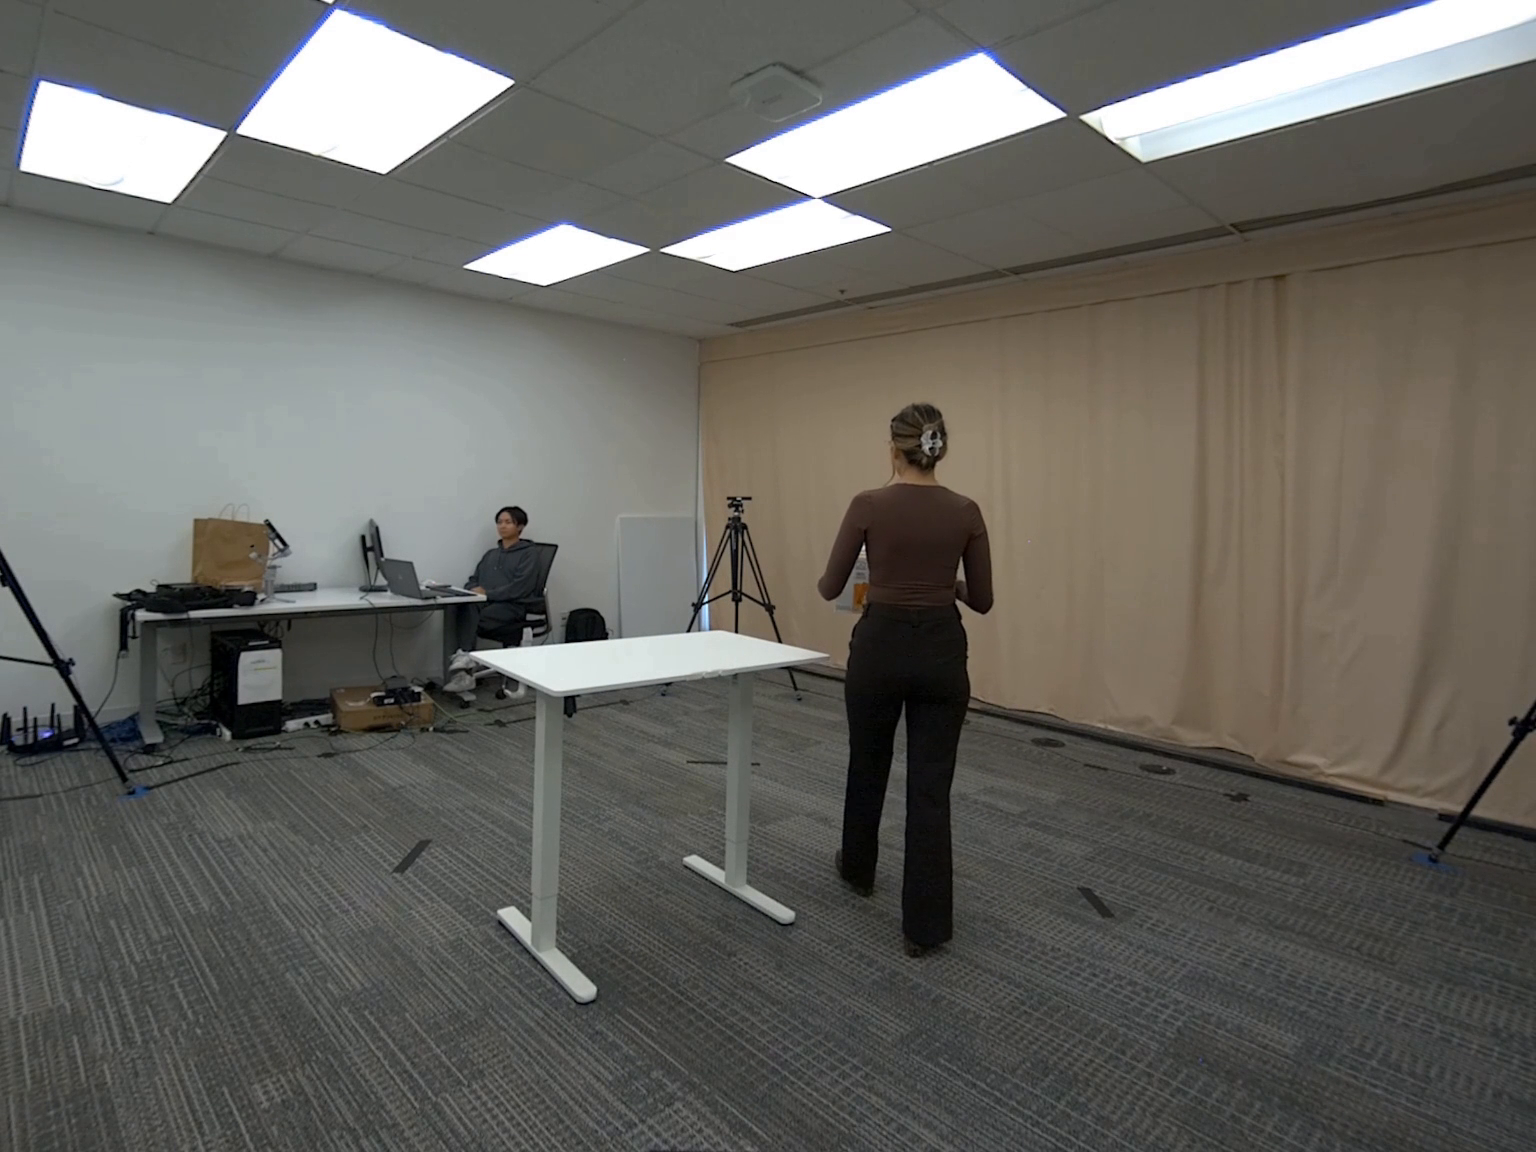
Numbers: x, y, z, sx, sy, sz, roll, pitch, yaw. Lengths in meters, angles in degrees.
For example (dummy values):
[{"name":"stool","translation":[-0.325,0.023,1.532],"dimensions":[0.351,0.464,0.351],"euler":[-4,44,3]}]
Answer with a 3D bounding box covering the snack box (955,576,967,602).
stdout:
[{"name":"snack box","translation":[0.453,0.017,3.068],"dimensions":[0.408,0.204,0.340],"euler":[4,9,7]}]
